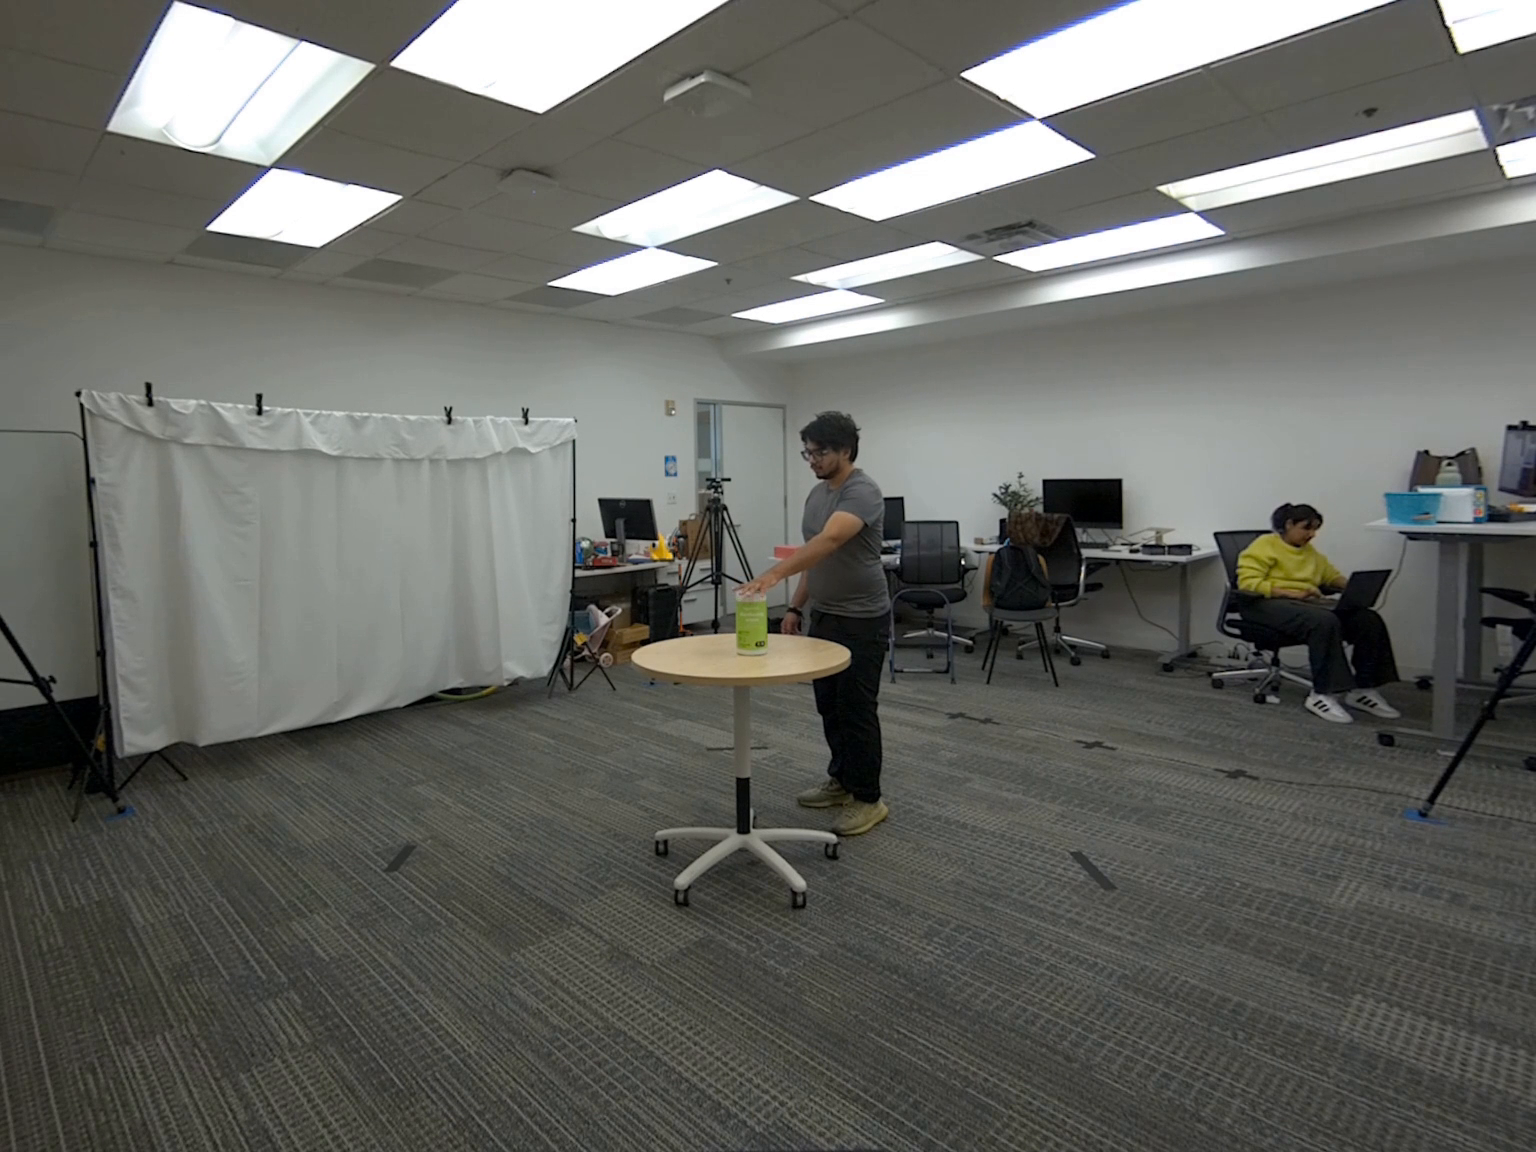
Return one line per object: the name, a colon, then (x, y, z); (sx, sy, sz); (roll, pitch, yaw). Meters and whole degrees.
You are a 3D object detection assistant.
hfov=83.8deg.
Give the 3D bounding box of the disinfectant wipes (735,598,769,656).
disinfectant wipes: (-0.059, 0.163, 2.987); (0.118, 0.217, 0.118); (-1, 3, -2)
